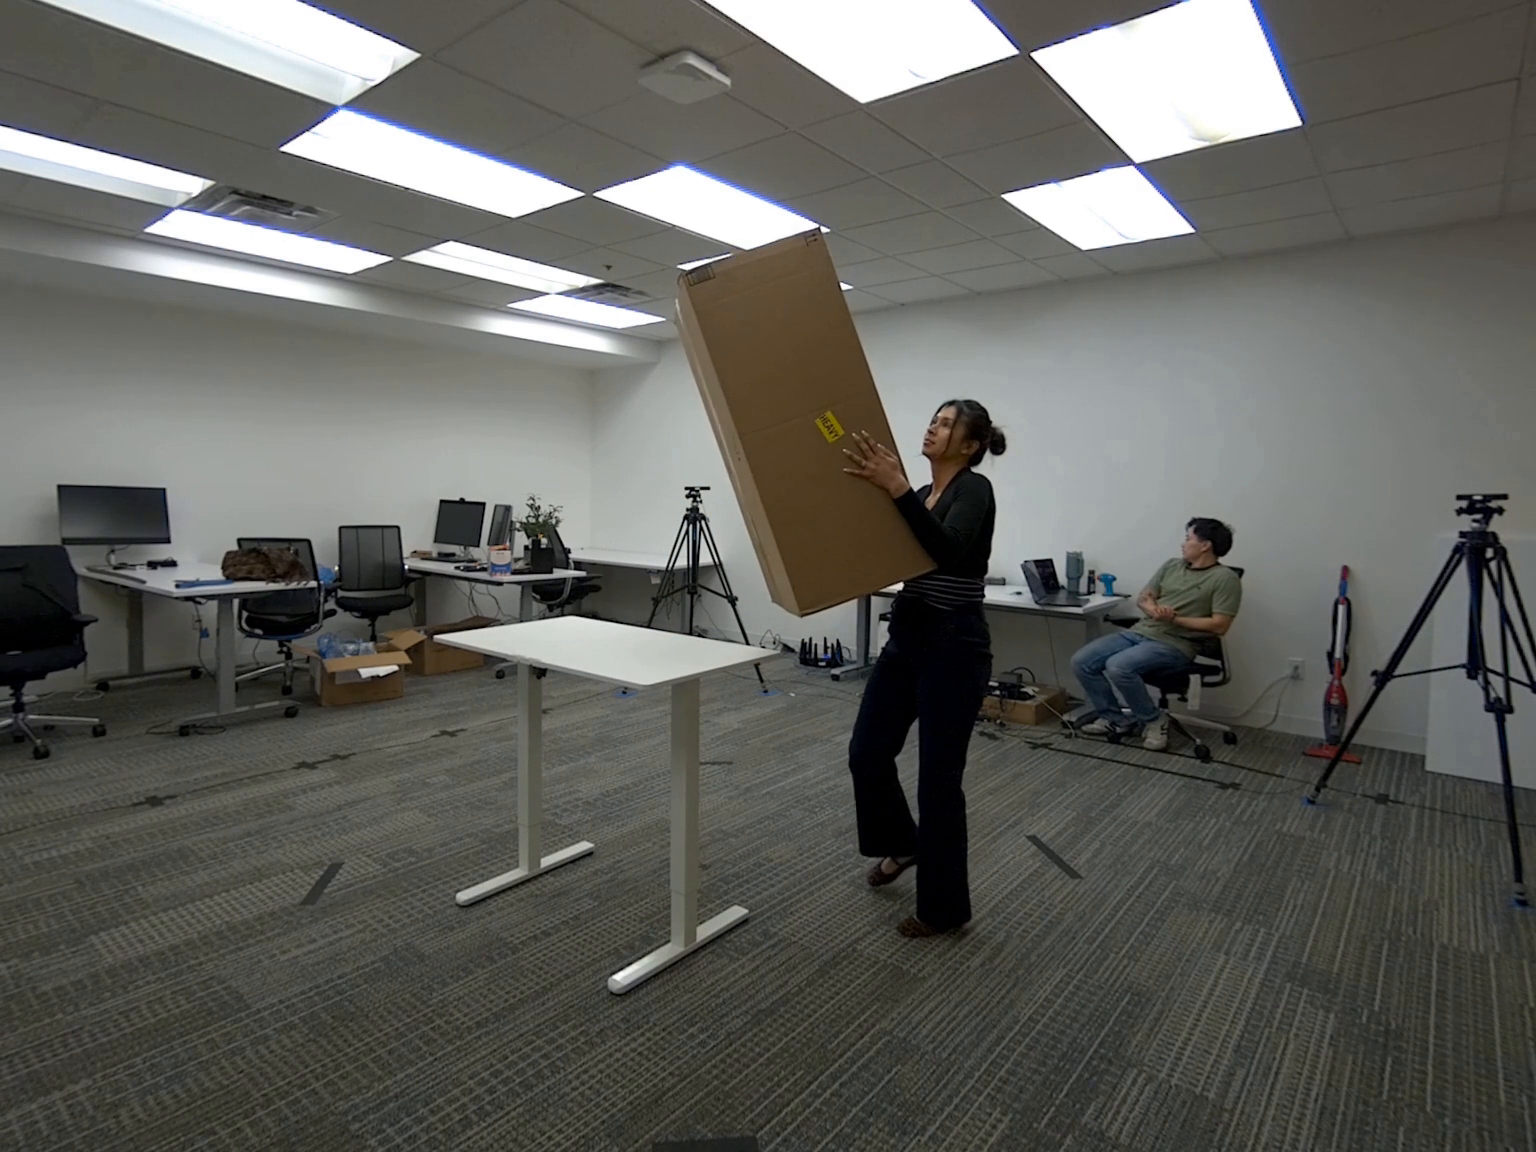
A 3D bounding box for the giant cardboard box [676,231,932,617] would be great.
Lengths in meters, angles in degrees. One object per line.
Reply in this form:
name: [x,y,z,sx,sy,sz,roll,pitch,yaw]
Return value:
giant cardboard box: [0.077,-0.449,2.663,0.424,1.024,0.581,-19,2,-6]
